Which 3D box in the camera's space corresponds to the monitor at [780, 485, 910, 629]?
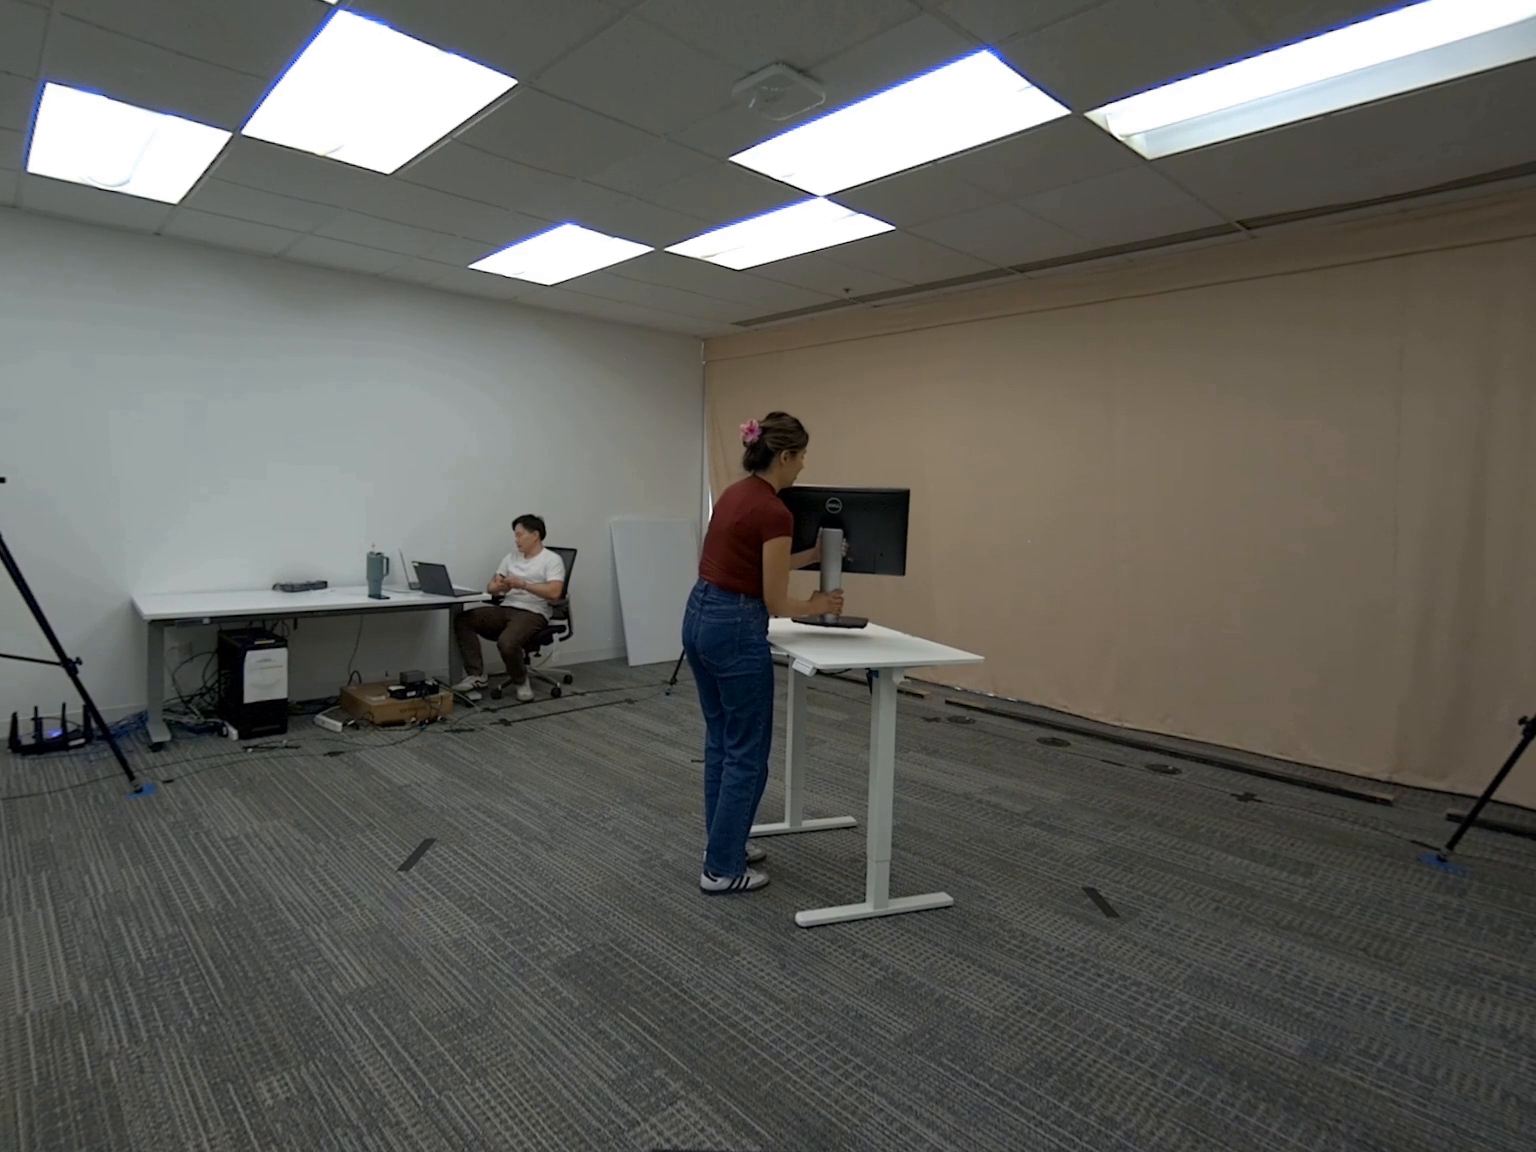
[{"bbox_3d":[0.233,-0.073,3.111,0.542,0.518,0.187,3,11,7],"label":"monitor"}]
